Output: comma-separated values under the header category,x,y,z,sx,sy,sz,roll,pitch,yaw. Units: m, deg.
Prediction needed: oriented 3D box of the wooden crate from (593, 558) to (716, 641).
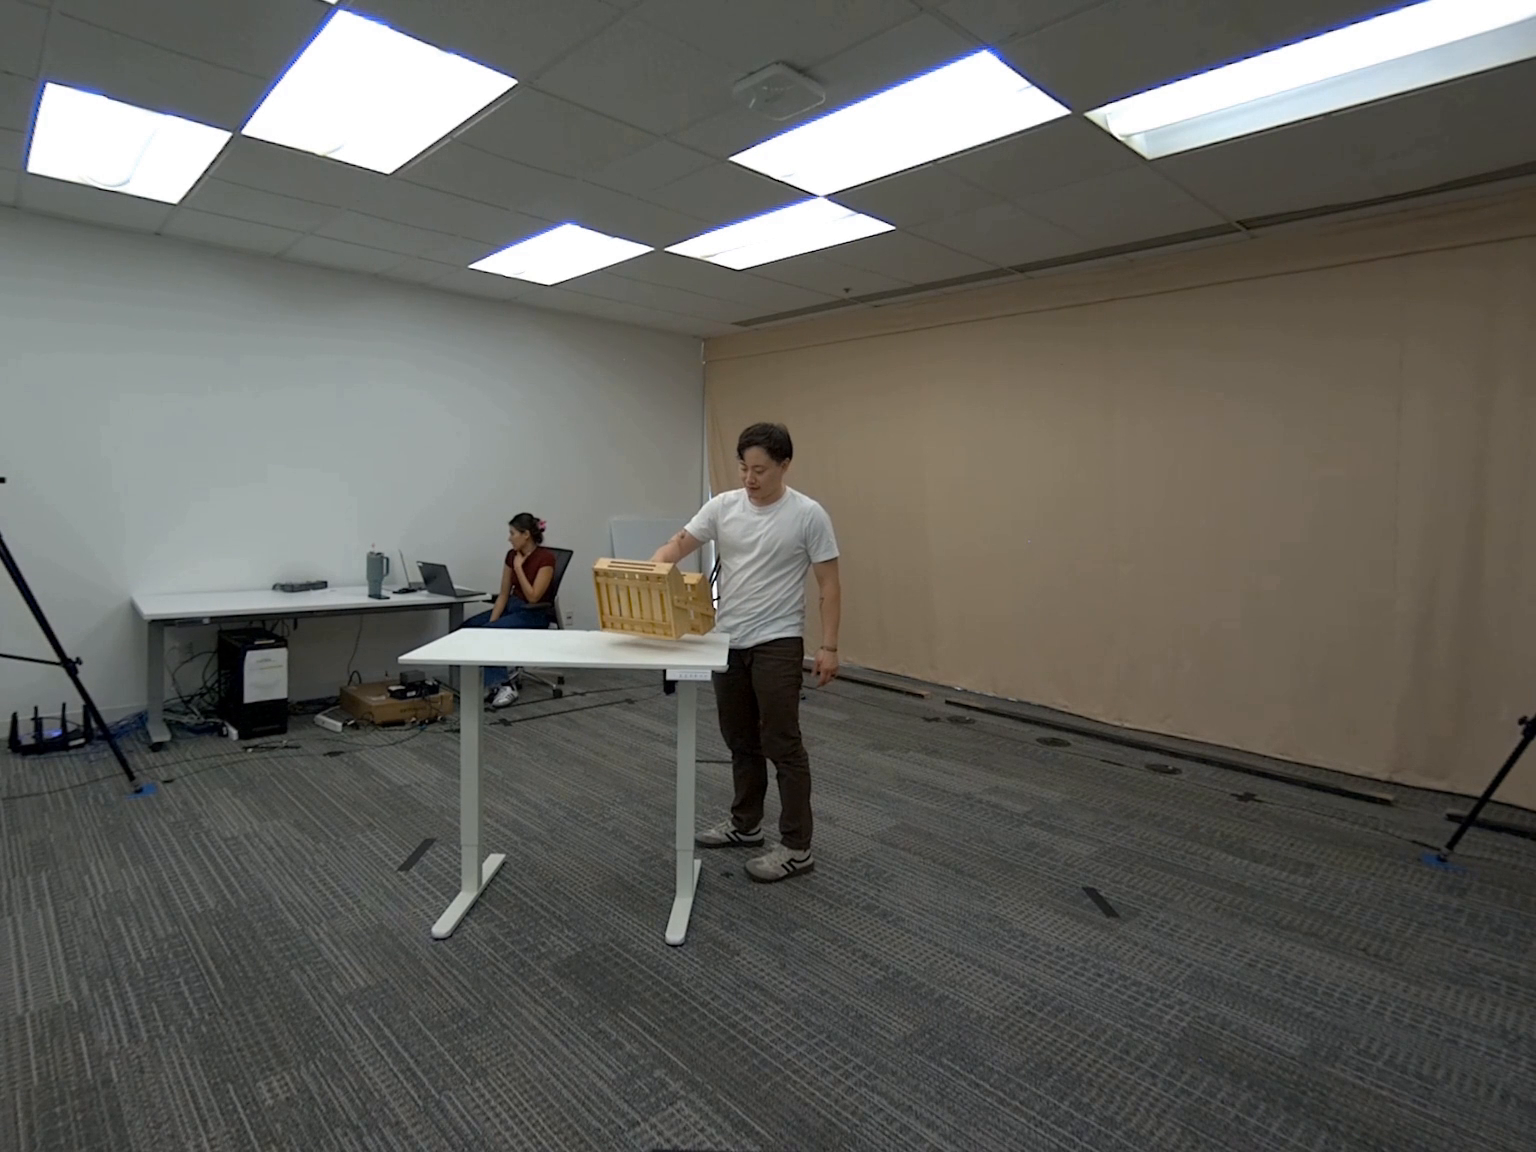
category,x,y,z,sx,sy,sz,roll,pitch,yaw
wooden crate,-0.390,0.064,2.859,0.331,0.298,0.271,5,20,27
